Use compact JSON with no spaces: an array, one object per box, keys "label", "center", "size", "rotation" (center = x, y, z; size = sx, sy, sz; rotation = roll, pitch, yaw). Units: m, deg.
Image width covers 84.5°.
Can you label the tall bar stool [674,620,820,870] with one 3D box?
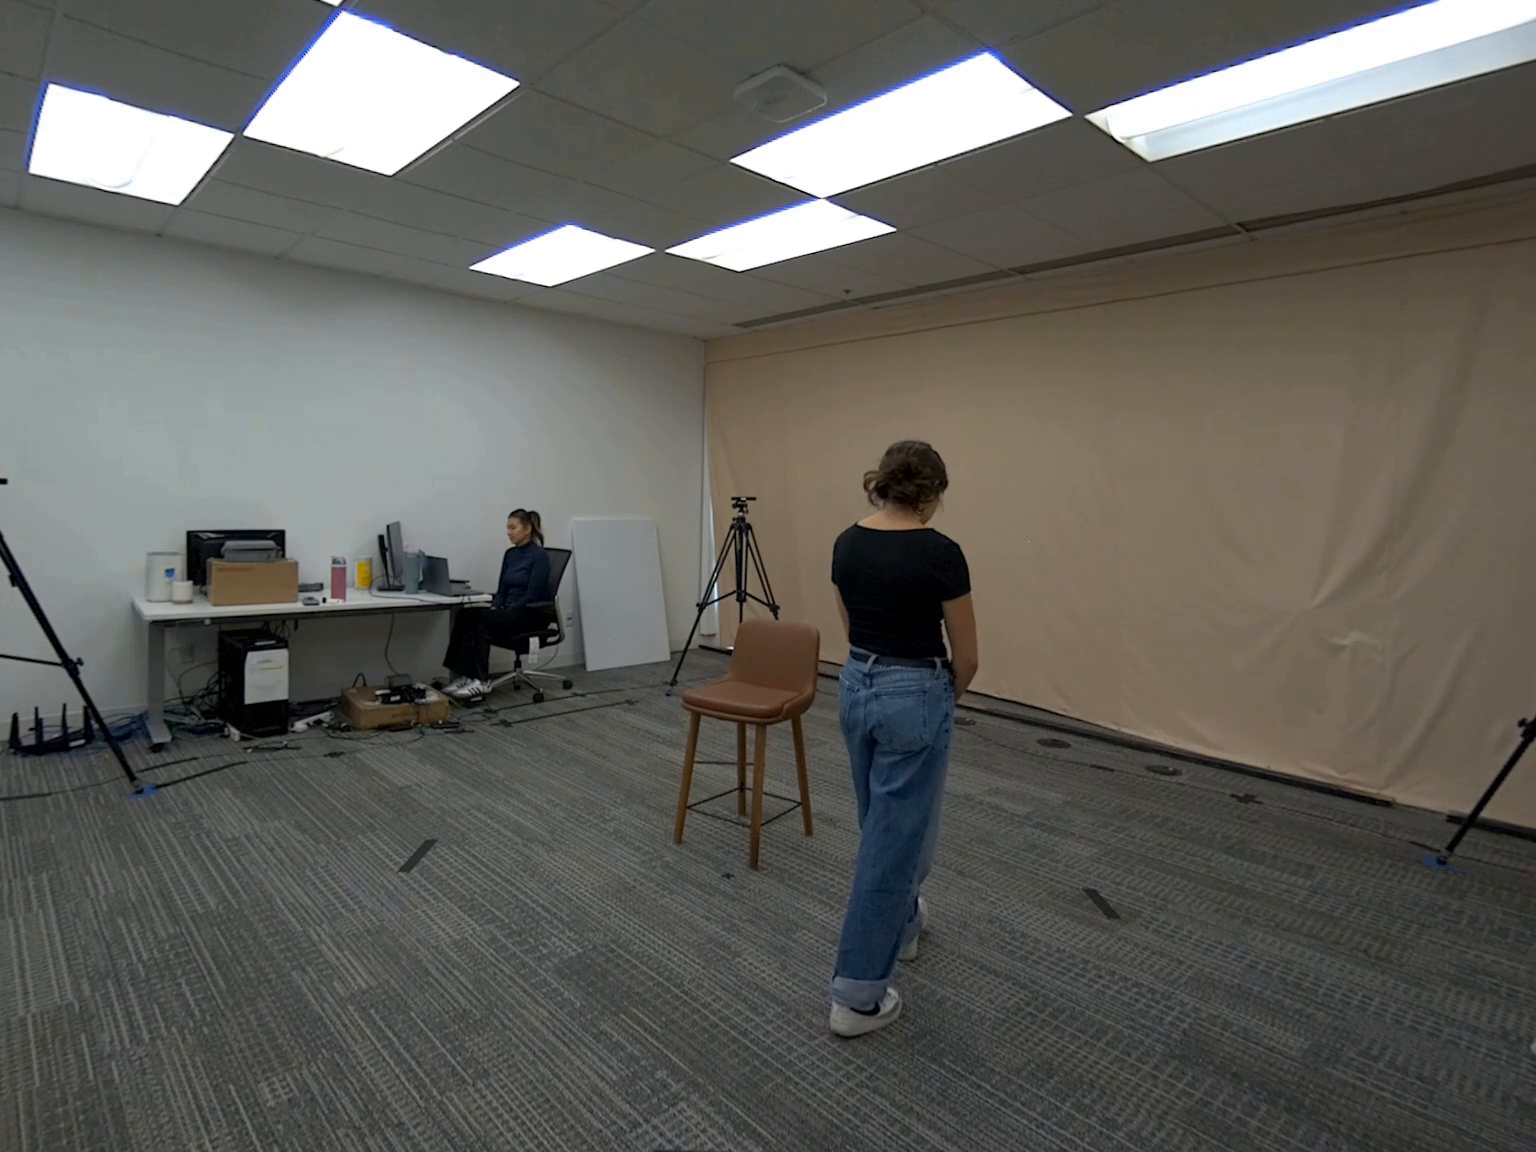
[{"label":"tall bar stool","center":[-0.082,0.646,3.431],"size":[0.467,0.889,0.457],"rotation":[4,2,37]}]
